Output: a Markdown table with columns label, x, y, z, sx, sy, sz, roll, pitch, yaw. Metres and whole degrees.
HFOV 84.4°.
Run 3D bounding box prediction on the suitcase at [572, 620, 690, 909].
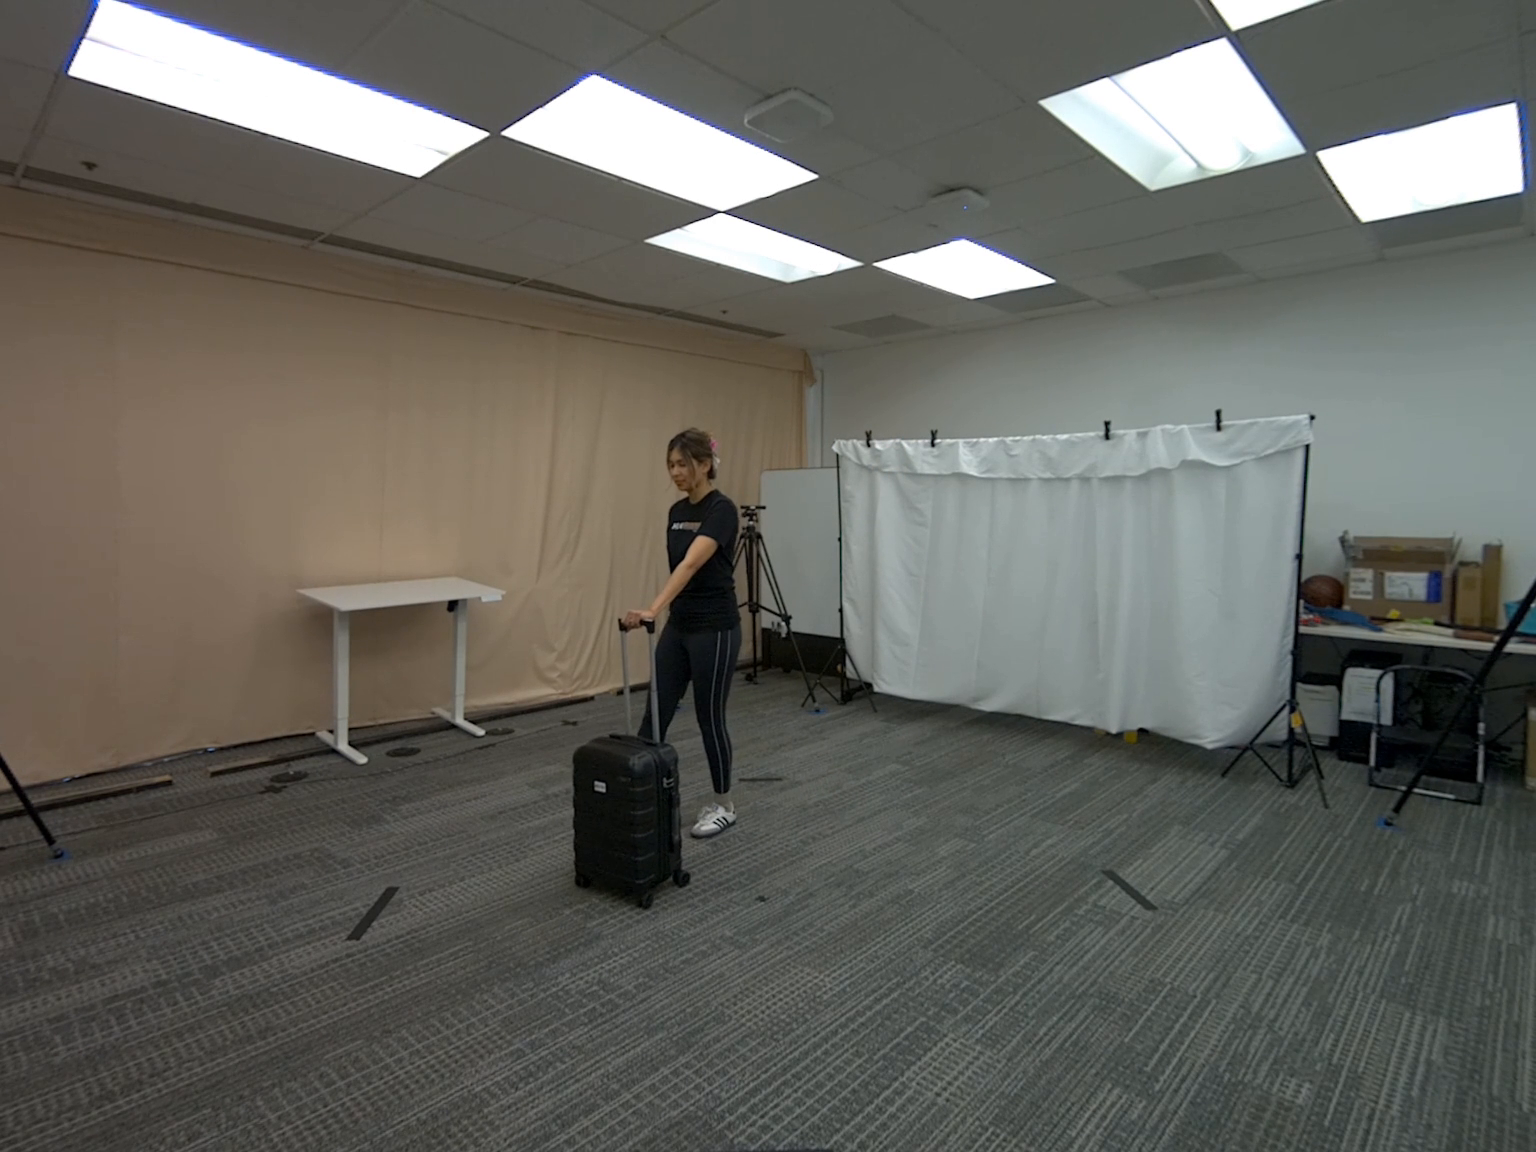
| label | x | y | z | sx | sy | sz | roll | pitch | yaw |
| --- | --- | --- | --- | --- | --- | --- | --- | --- | --- |
| suitcase | -0.527 | 0.667 | 3.038 | 0.396 | 0.975 | 0.250 | 2 | 7 | 33 |
